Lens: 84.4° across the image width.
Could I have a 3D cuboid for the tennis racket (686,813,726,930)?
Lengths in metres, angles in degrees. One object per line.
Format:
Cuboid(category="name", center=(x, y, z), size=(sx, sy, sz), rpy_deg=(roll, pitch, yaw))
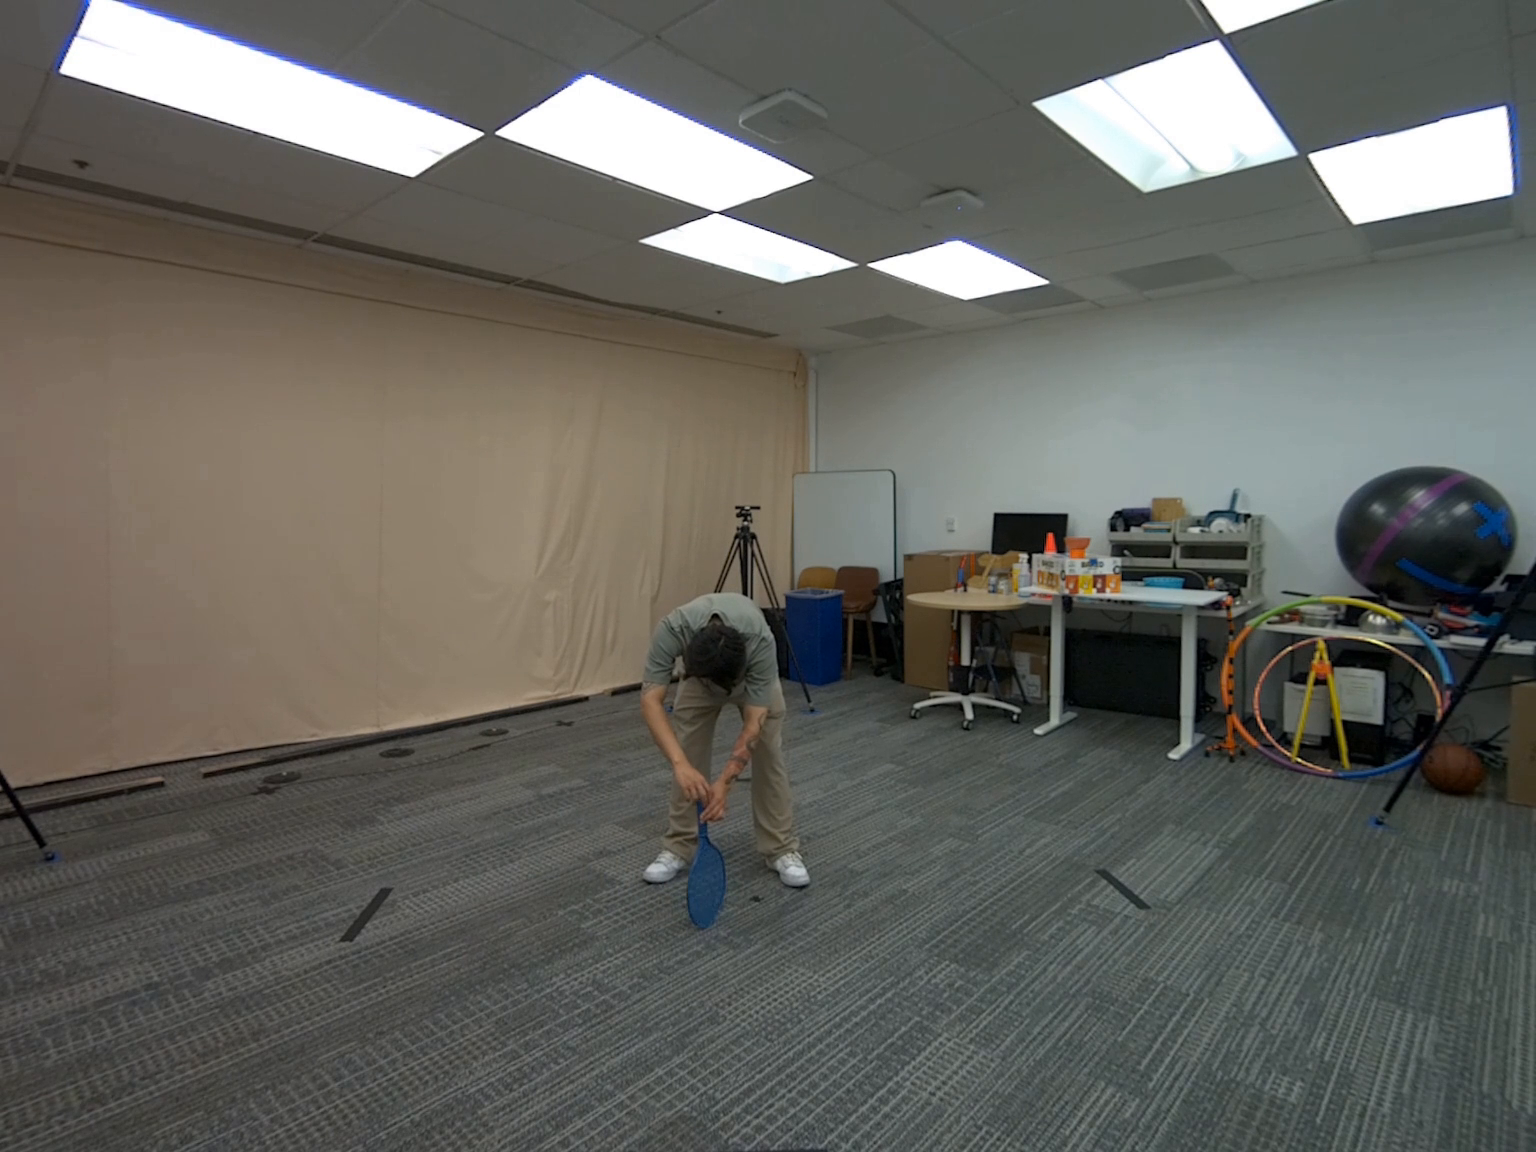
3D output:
Cuboid(category="tennis racket", center=(-0.203, 0.944, 2.780), size=(0.033, 0.430, 0.208), rpy_deg=(1, 9, 33))
